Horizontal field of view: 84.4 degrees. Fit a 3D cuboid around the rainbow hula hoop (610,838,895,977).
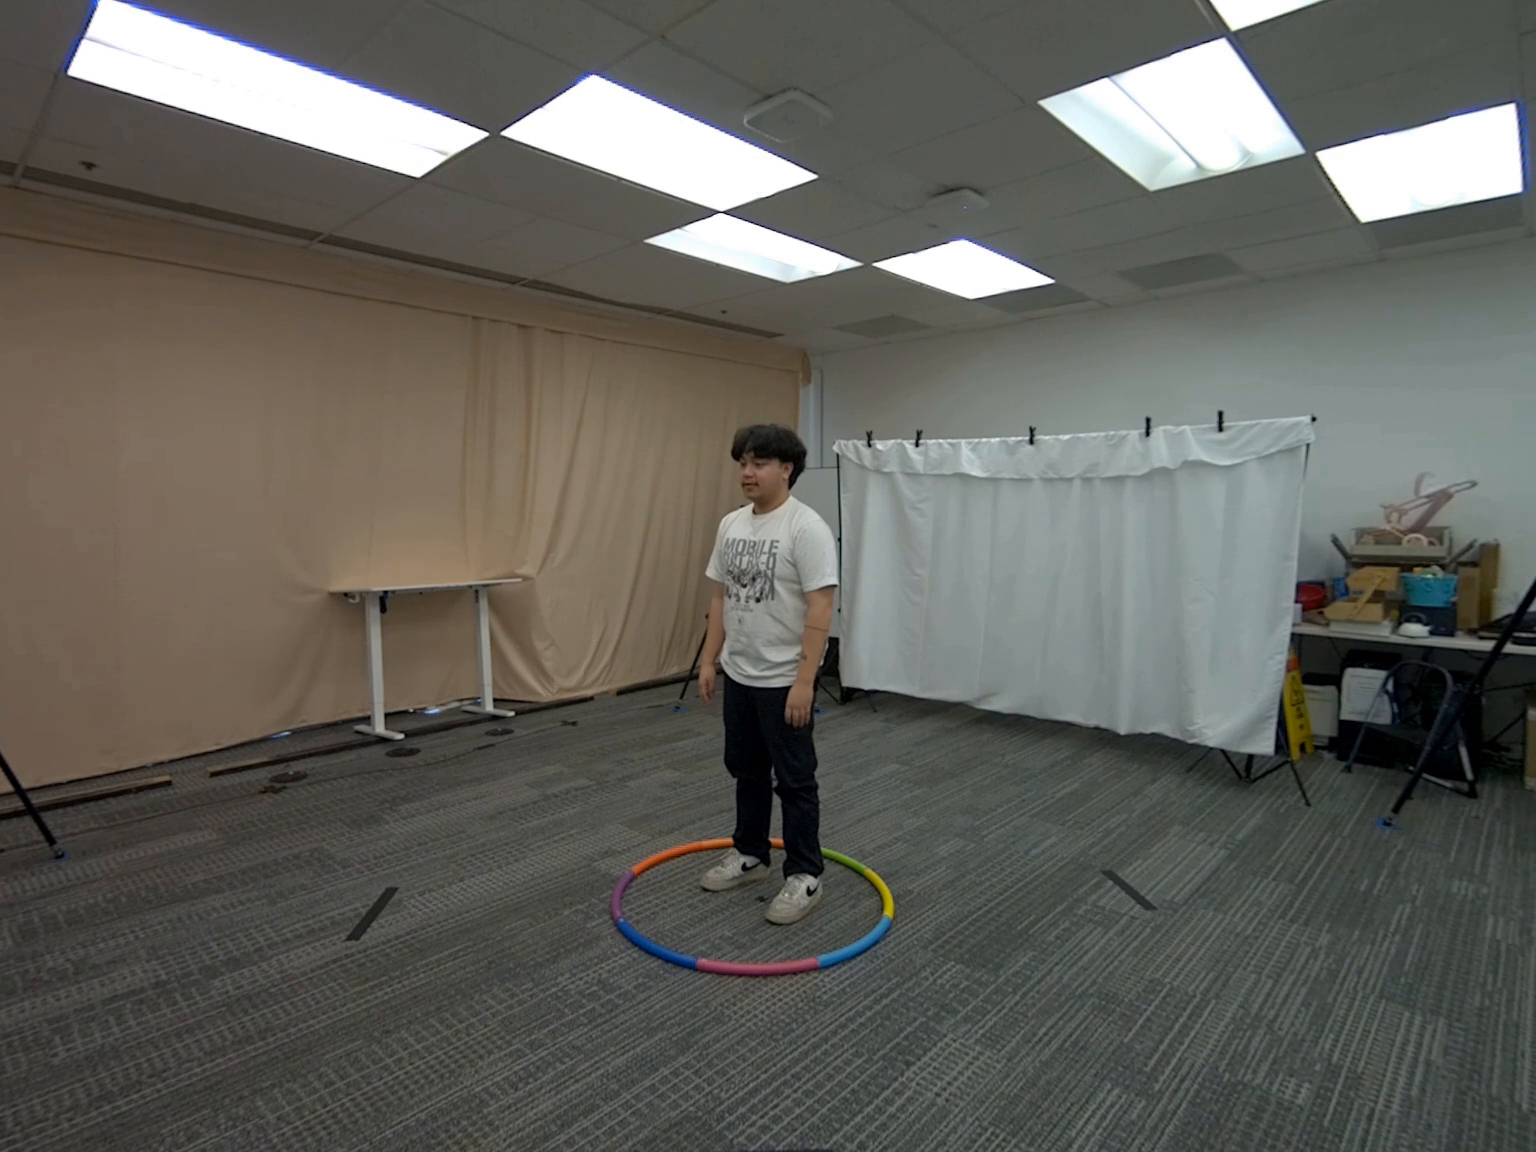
[{"bbox_3d":[-0.057,1.119,2.975,0.985,0.051,0.989,0,5,-2],"label":"rainbow hula hoop"}]
